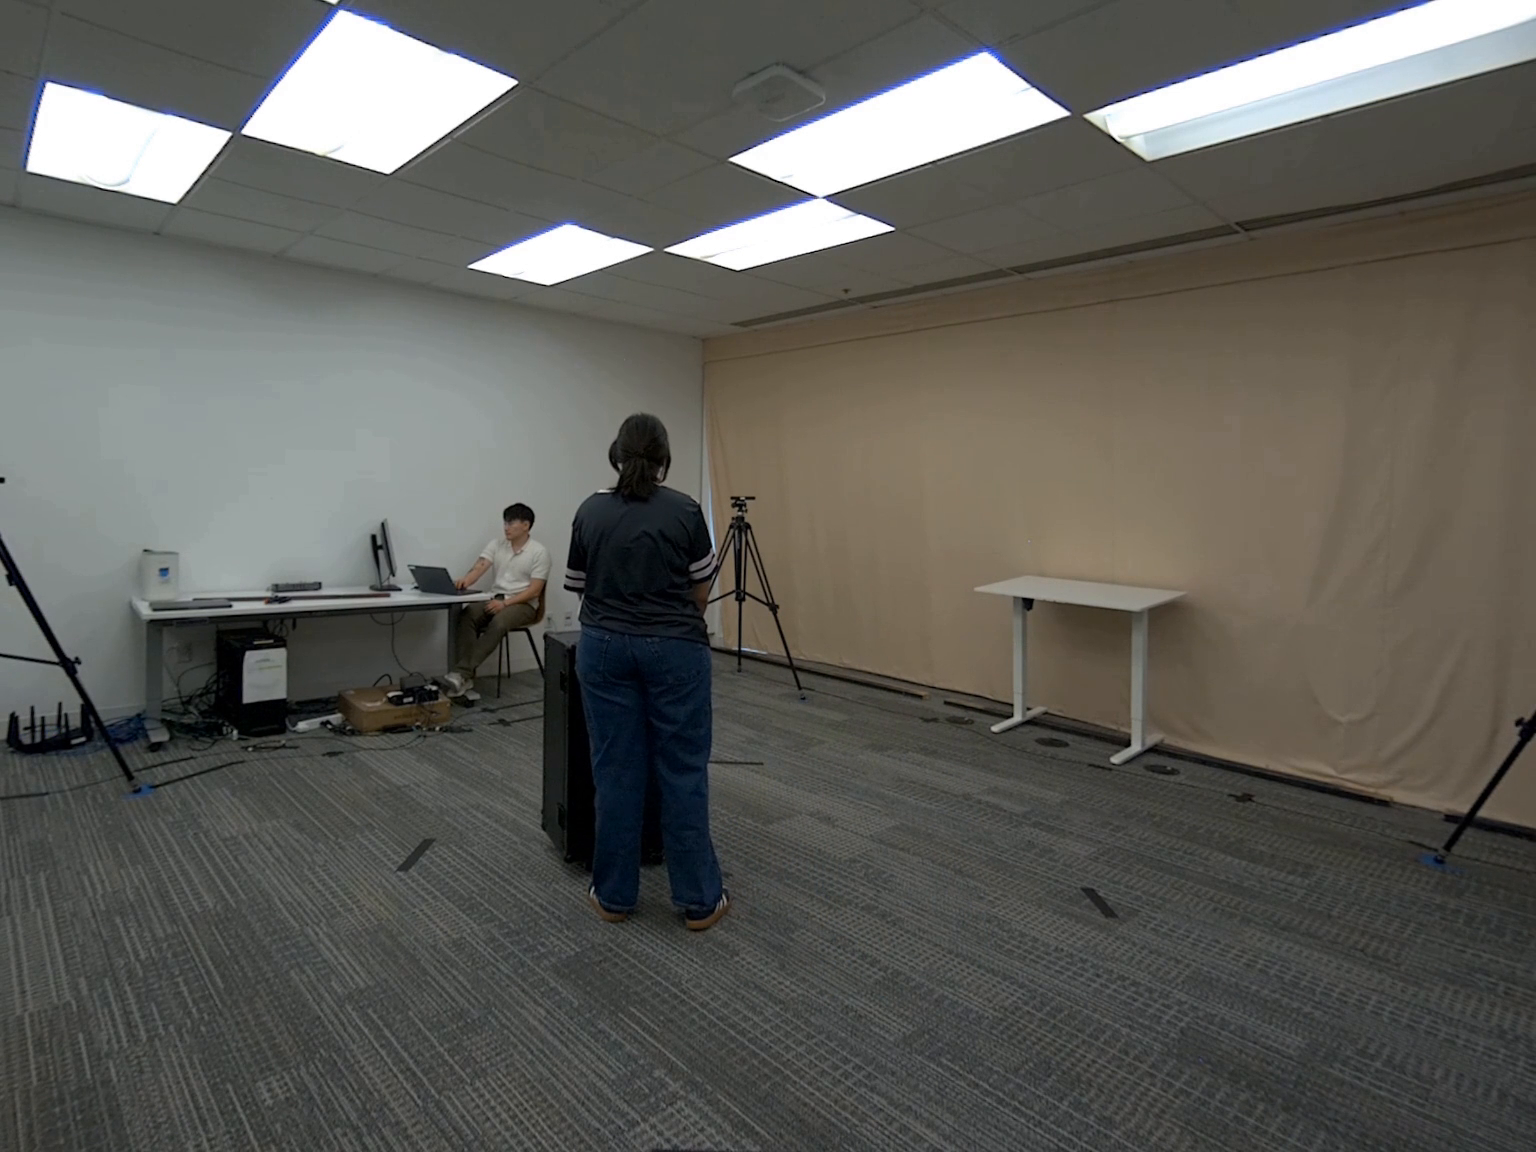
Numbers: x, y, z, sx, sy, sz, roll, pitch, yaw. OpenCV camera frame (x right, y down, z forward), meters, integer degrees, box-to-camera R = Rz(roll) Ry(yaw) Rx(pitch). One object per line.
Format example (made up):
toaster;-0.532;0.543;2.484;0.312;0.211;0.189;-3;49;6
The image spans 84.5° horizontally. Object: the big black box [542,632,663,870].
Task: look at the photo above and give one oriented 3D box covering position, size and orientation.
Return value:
big black box;-0.604;0.659;3.259;0.513;0.866;0.393;0;3;-28
